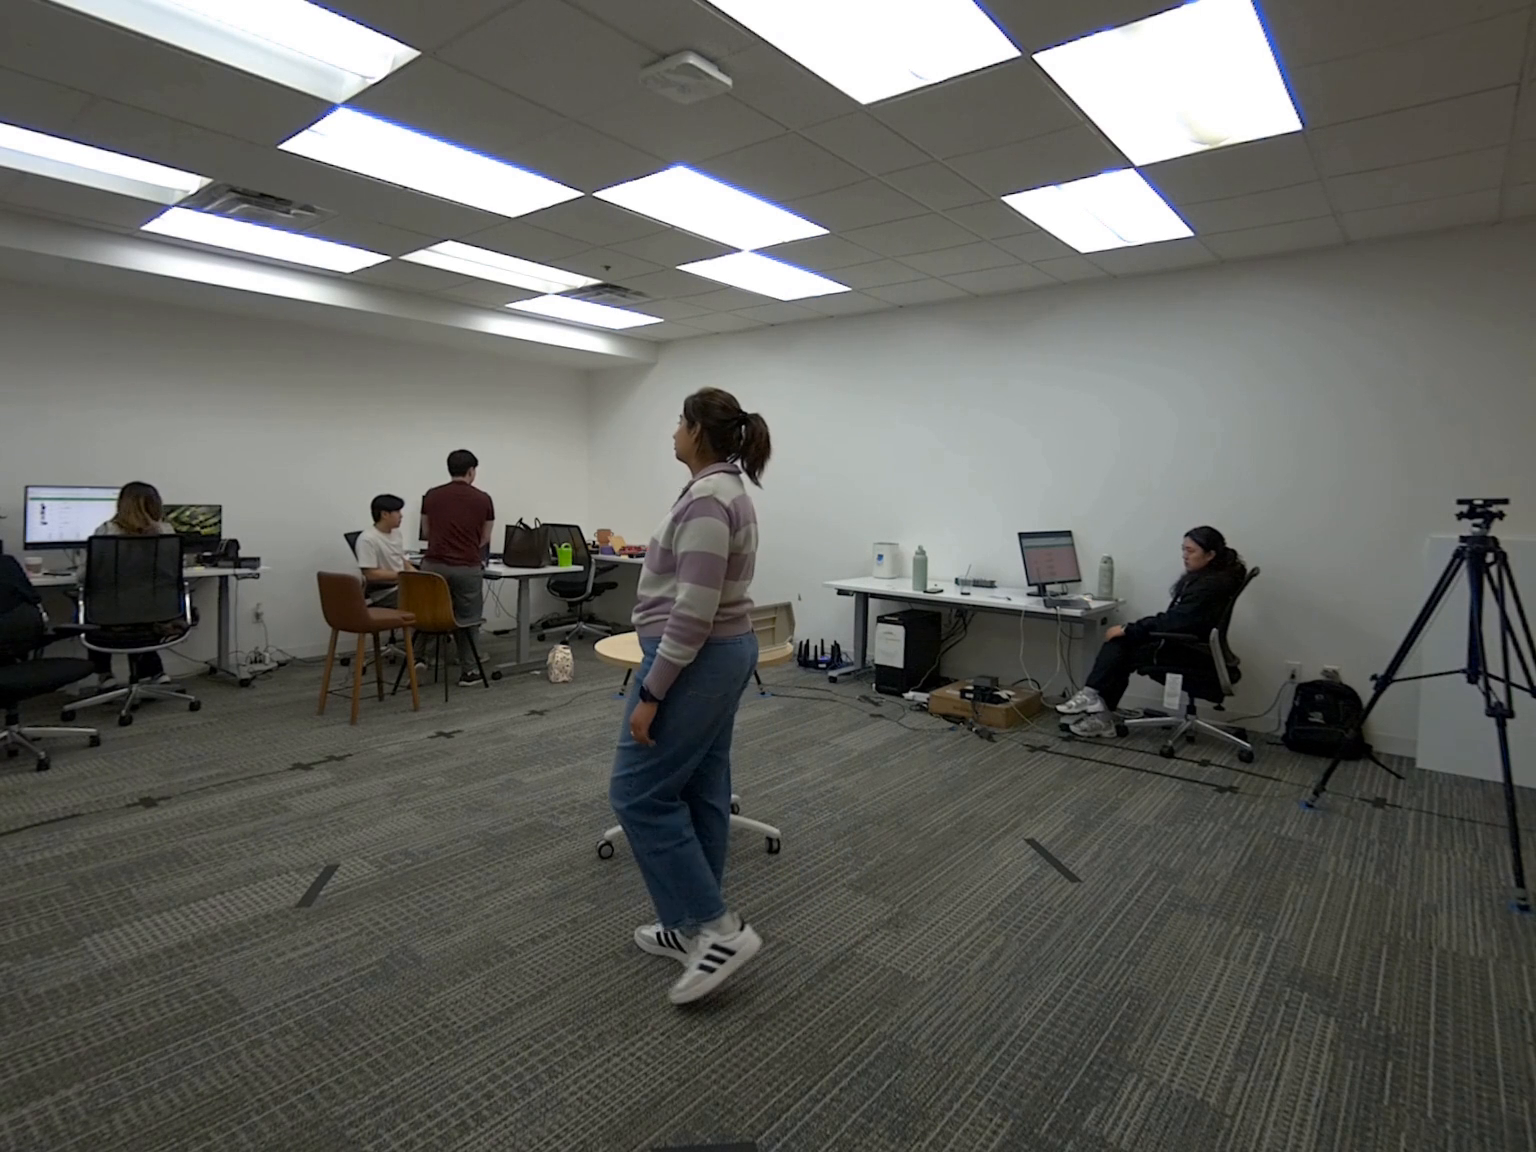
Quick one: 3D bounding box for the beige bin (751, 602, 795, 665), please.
[{"bbox_3d":[-0.181,0.179,3.294,0.436,0.188,0.367,5,9,38],"label":"beige bin"}]
